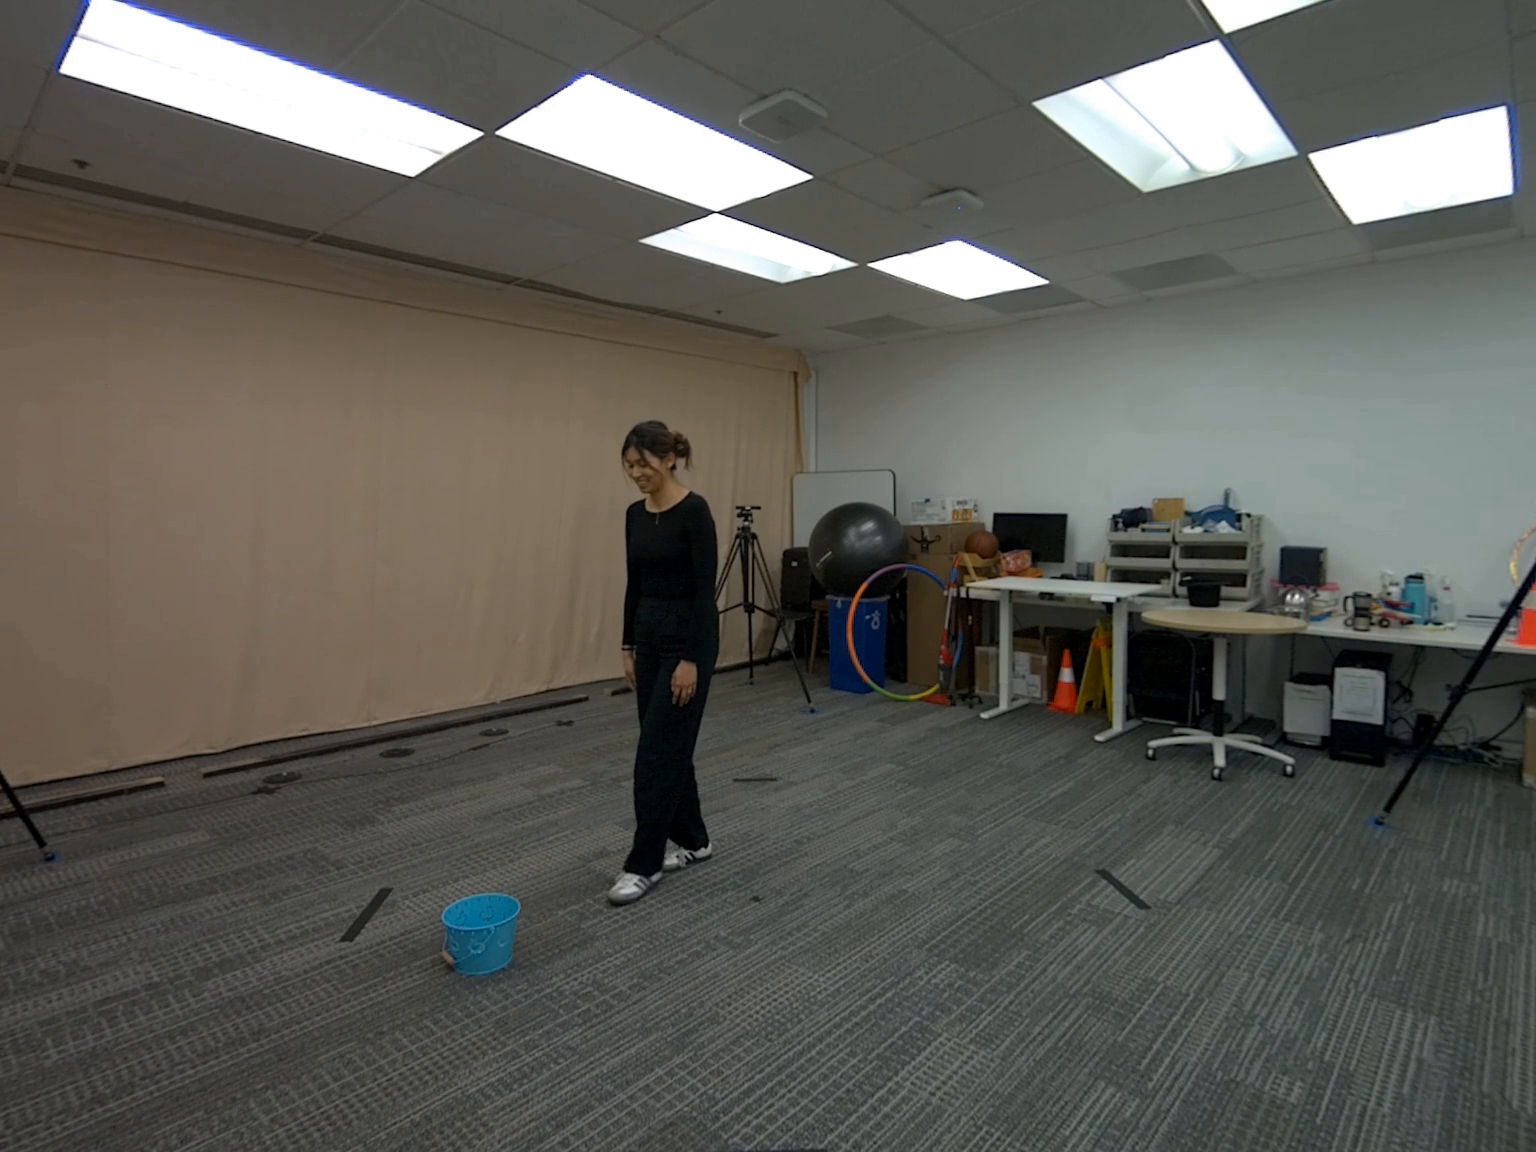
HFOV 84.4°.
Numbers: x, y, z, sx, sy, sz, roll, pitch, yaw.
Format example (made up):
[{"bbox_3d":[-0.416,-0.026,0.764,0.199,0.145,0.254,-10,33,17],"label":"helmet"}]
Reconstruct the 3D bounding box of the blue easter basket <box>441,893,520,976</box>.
[{"bbox_3d":[-0.890,1.106,2.594,0.243,0.155,0.244,0,4,-2],"label":"blue easter basket"}]
